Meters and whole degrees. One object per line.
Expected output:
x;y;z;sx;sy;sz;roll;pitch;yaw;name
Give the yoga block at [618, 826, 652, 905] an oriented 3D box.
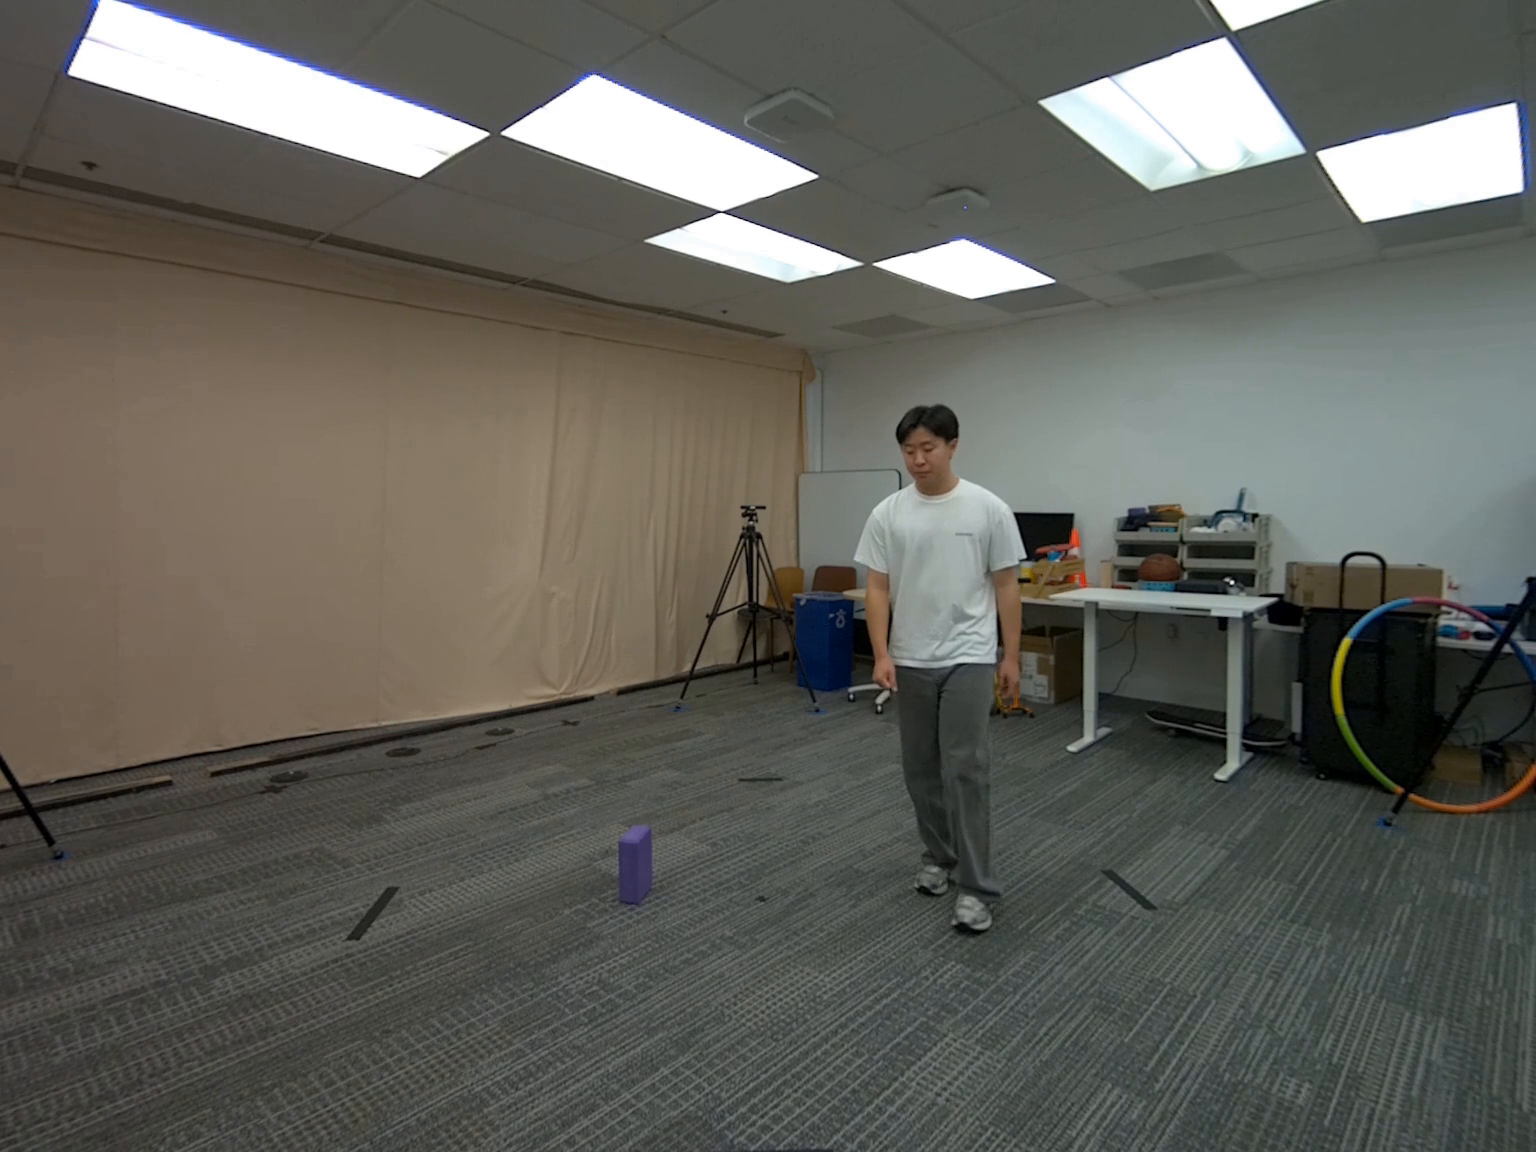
-0.464;1.035;3.010;0.077;0.229;0.147;-1;3;13;yoga block
